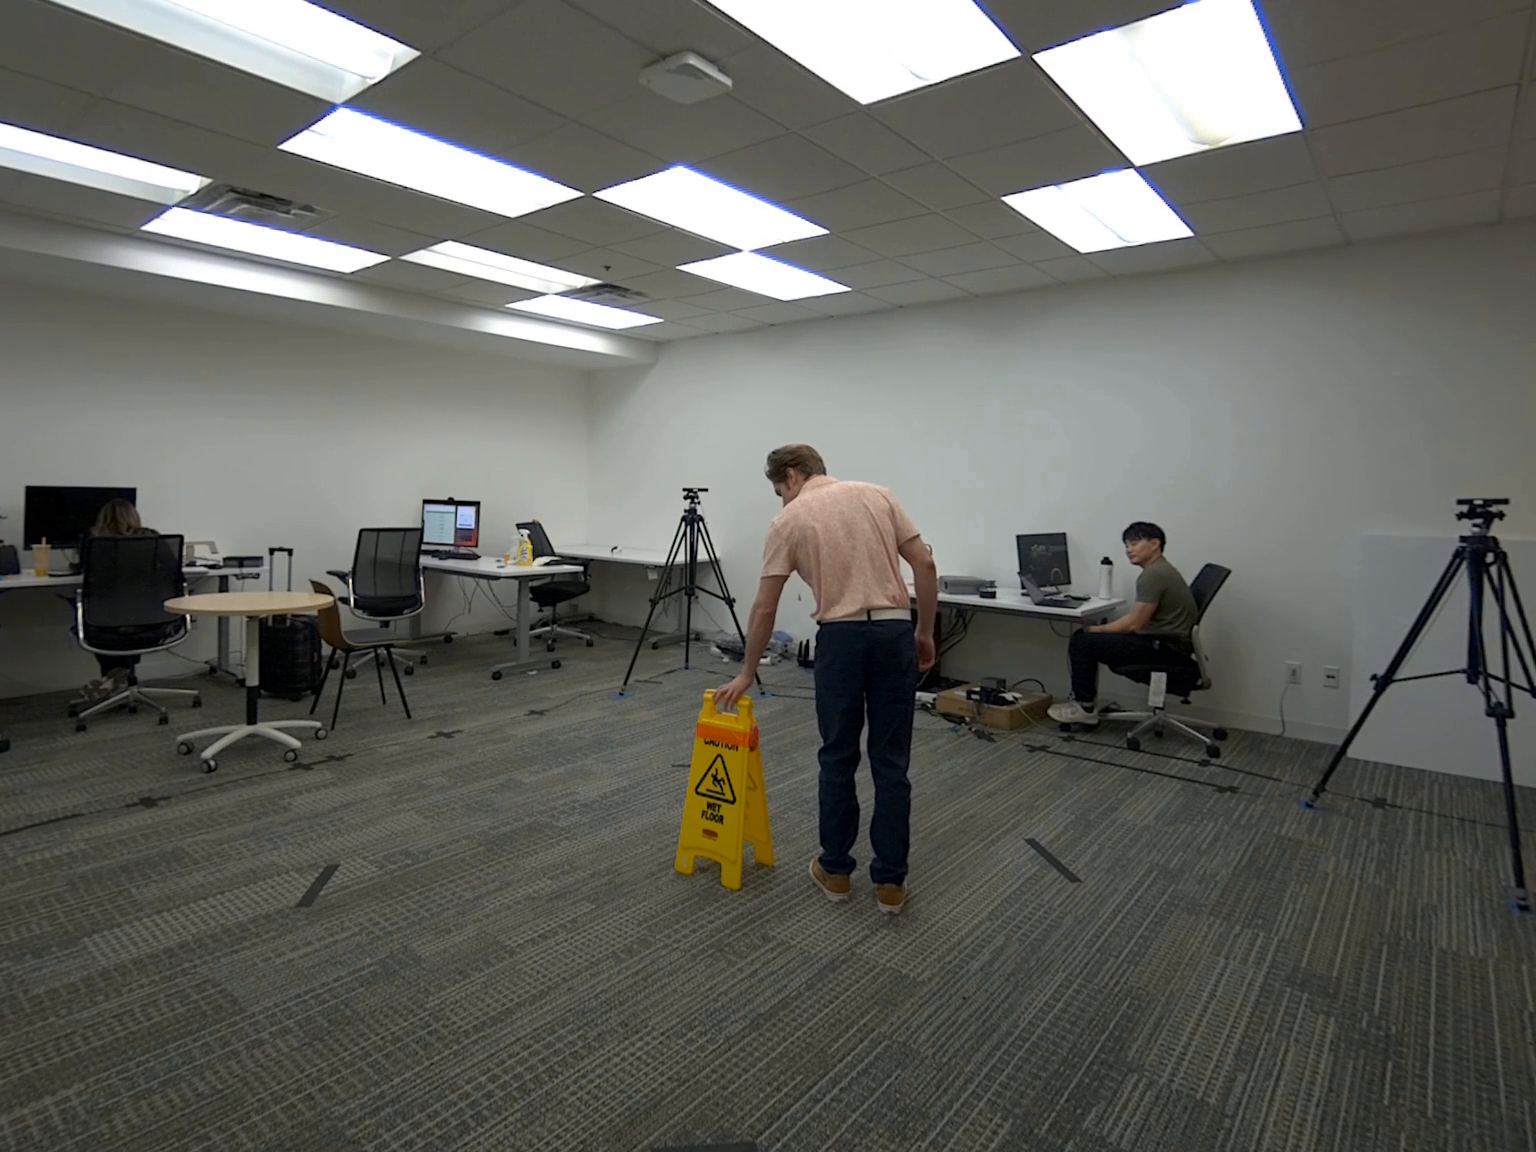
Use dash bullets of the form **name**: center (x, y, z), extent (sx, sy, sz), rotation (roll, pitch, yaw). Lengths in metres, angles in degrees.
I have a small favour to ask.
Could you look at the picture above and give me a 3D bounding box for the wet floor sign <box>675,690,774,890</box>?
- **wet floor sign**: center (-0.166, 0.745, 3.105), extent (0.291, 0.644, 0.282), rotation (2, 3, 32)
